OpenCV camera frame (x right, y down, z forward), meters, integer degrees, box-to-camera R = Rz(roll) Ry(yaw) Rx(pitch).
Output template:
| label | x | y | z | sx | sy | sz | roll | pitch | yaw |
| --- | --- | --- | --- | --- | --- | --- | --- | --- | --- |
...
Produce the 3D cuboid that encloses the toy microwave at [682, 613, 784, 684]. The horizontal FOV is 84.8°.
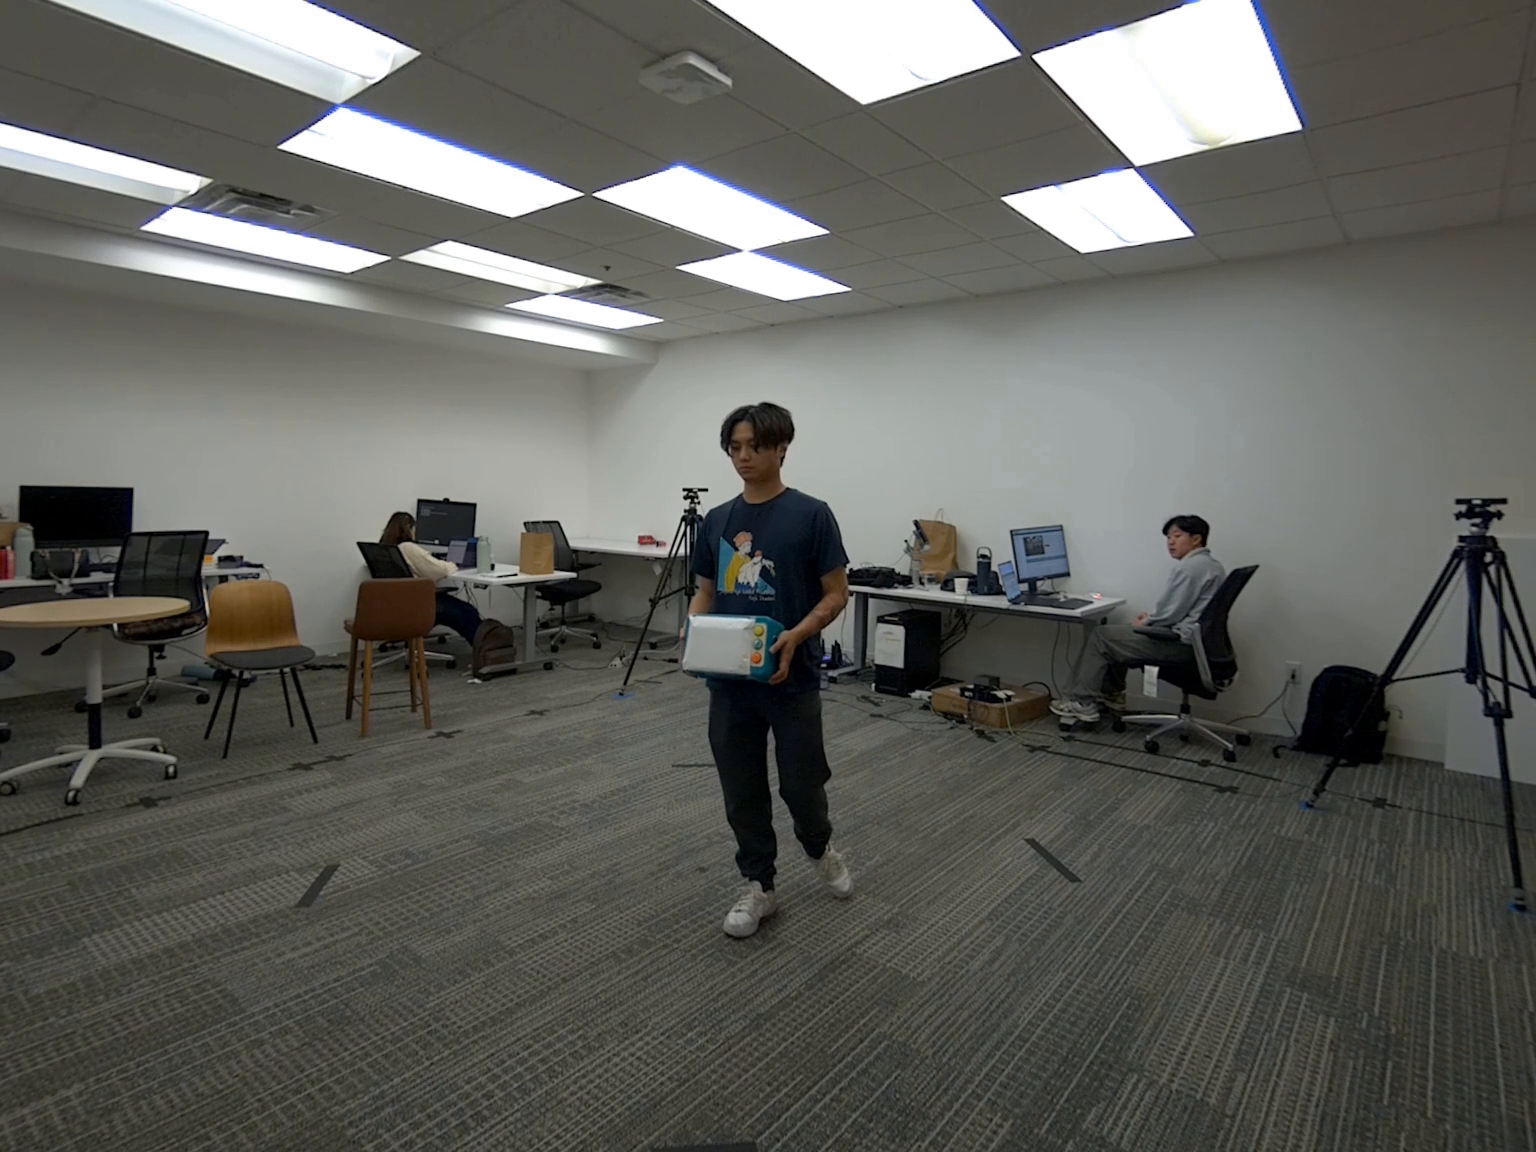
| label | x | y | z | sx | sy | sz | roll | pitch | yaw |
| --- | --- | --- | --- | --- | --- | --- | --- | --- | --- |
| toy microwave | -0.109 | 0.209 | 2.549 | 0.293 | 0.186 | 0.147 | 0 | -14 | 24 |
